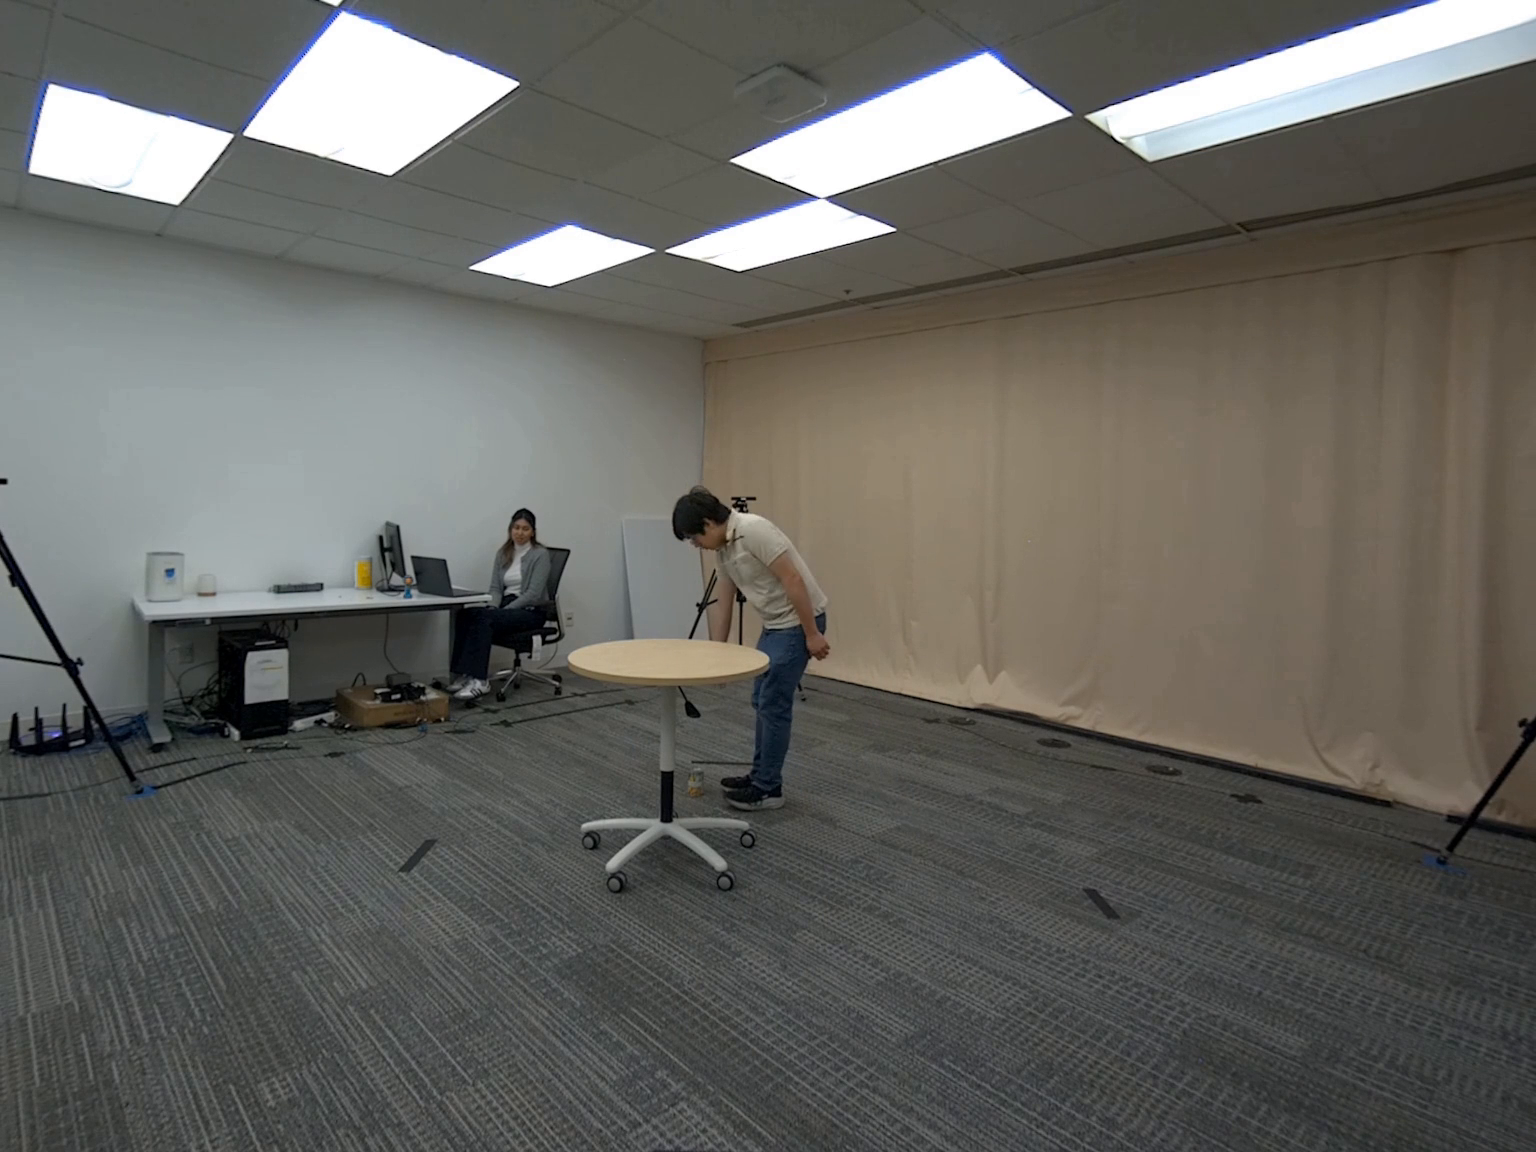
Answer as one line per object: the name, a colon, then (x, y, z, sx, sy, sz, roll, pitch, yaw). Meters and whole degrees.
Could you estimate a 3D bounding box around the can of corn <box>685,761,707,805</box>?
can of corn: (-0.345, 0.966, 3.968, 0.074, 0.111, 0.074, 3, 2, -2)
